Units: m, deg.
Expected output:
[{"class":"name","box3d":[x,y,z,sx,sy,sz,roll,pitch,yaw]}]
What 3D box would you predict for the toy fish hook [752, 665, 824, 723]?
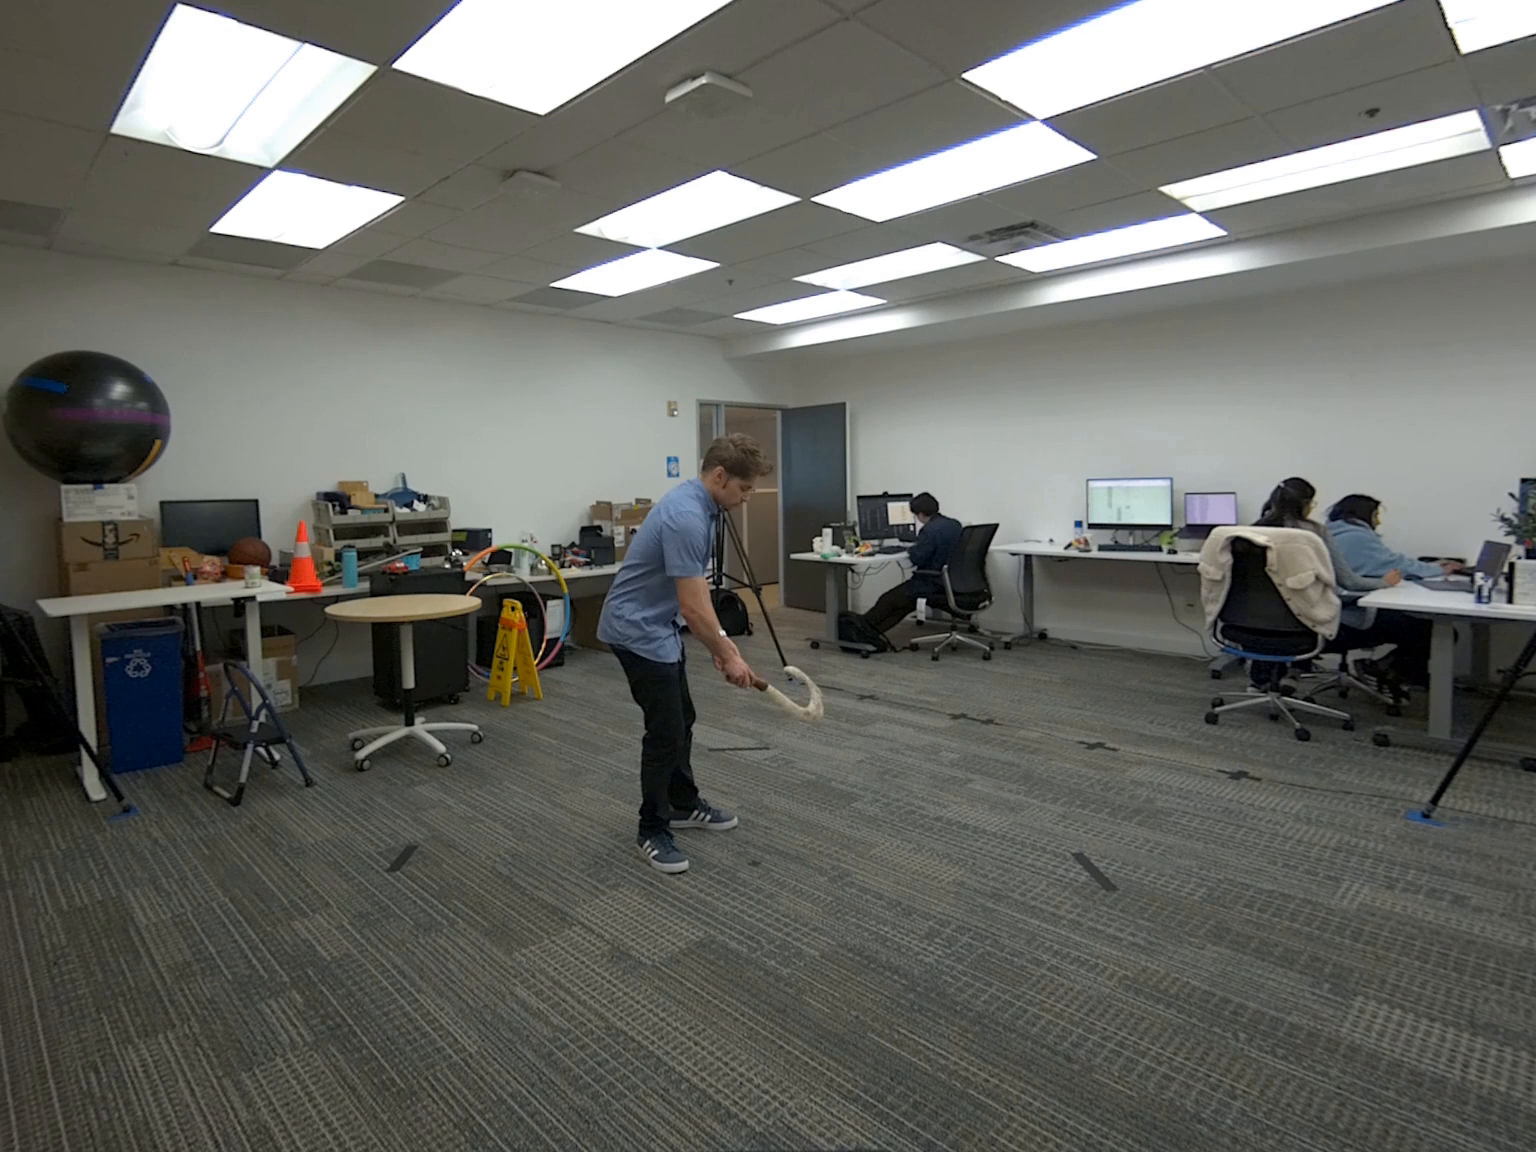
[{"class":"toy fish hook","box3d":[0.025,0.406,3.261,0.491,0.231,0.048,27,-53,-28]}]
